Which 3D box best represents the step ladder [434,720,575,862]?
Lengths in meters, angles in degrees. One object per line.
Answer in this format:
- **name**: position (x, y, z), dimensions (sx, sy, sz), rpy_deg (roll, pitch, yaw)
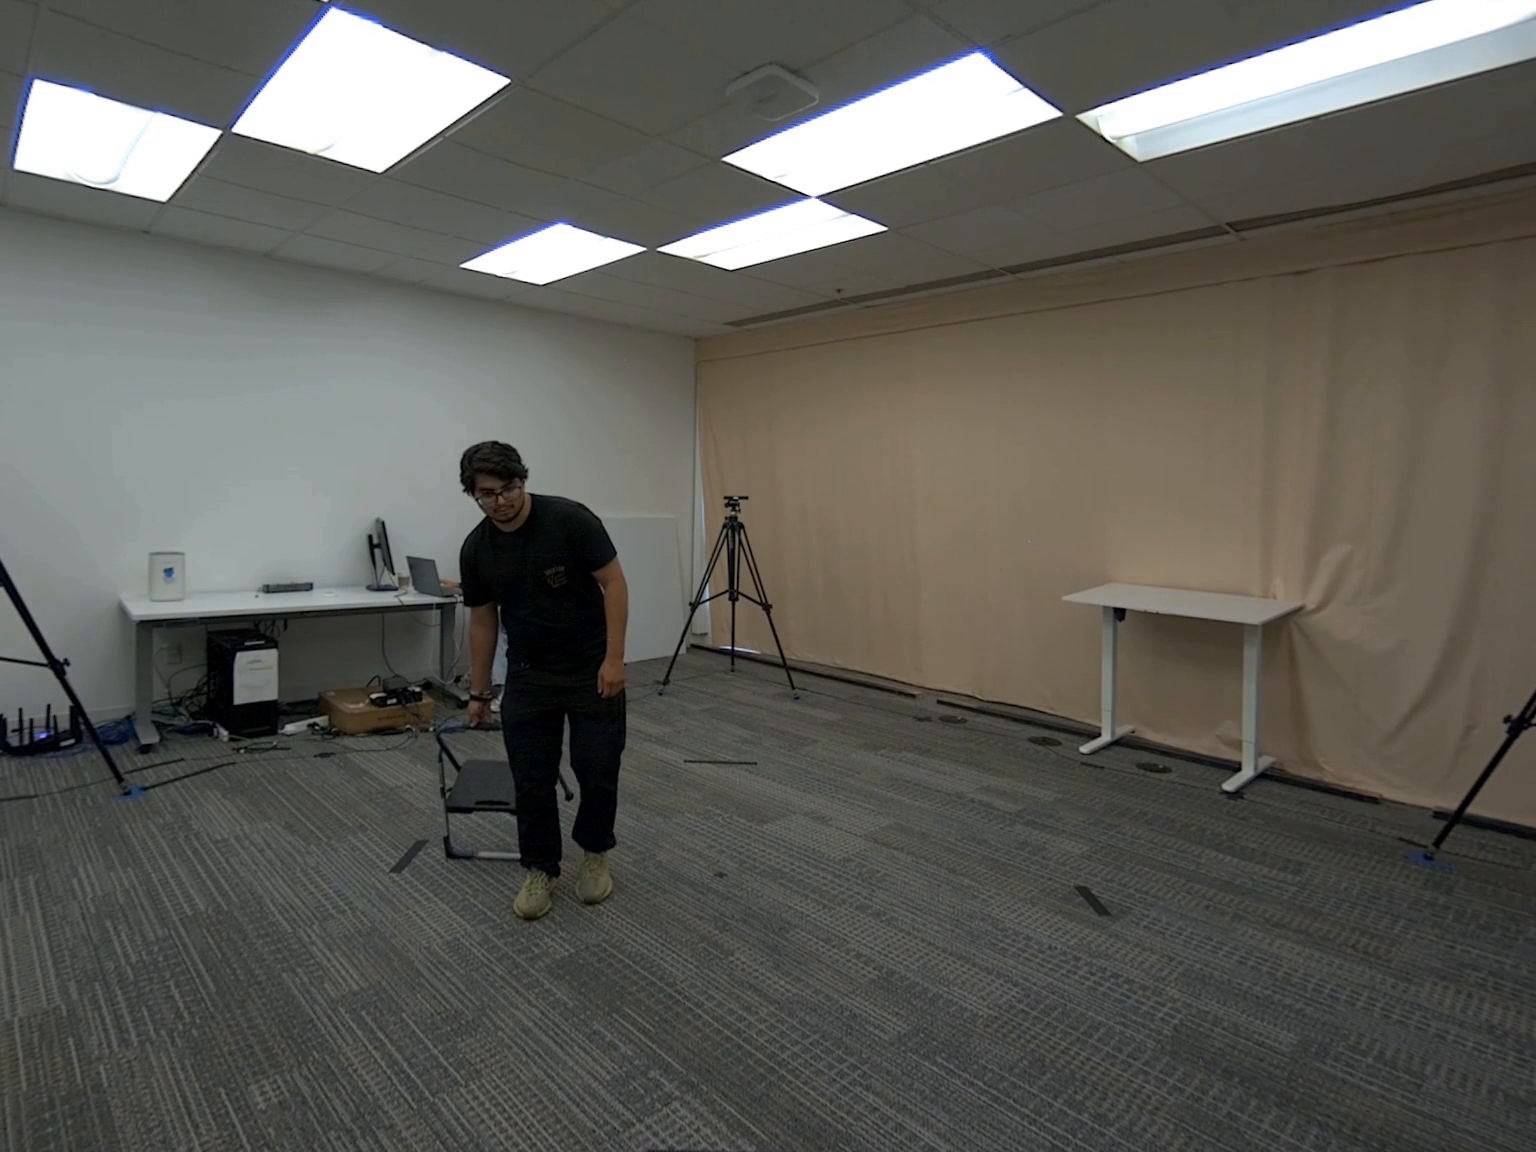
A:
- **step ladder**: position (-1.025, 0.739, 3.182), dimensions (0.432, 0.594, 0.355), rpy_deg (1, 32, 2)
